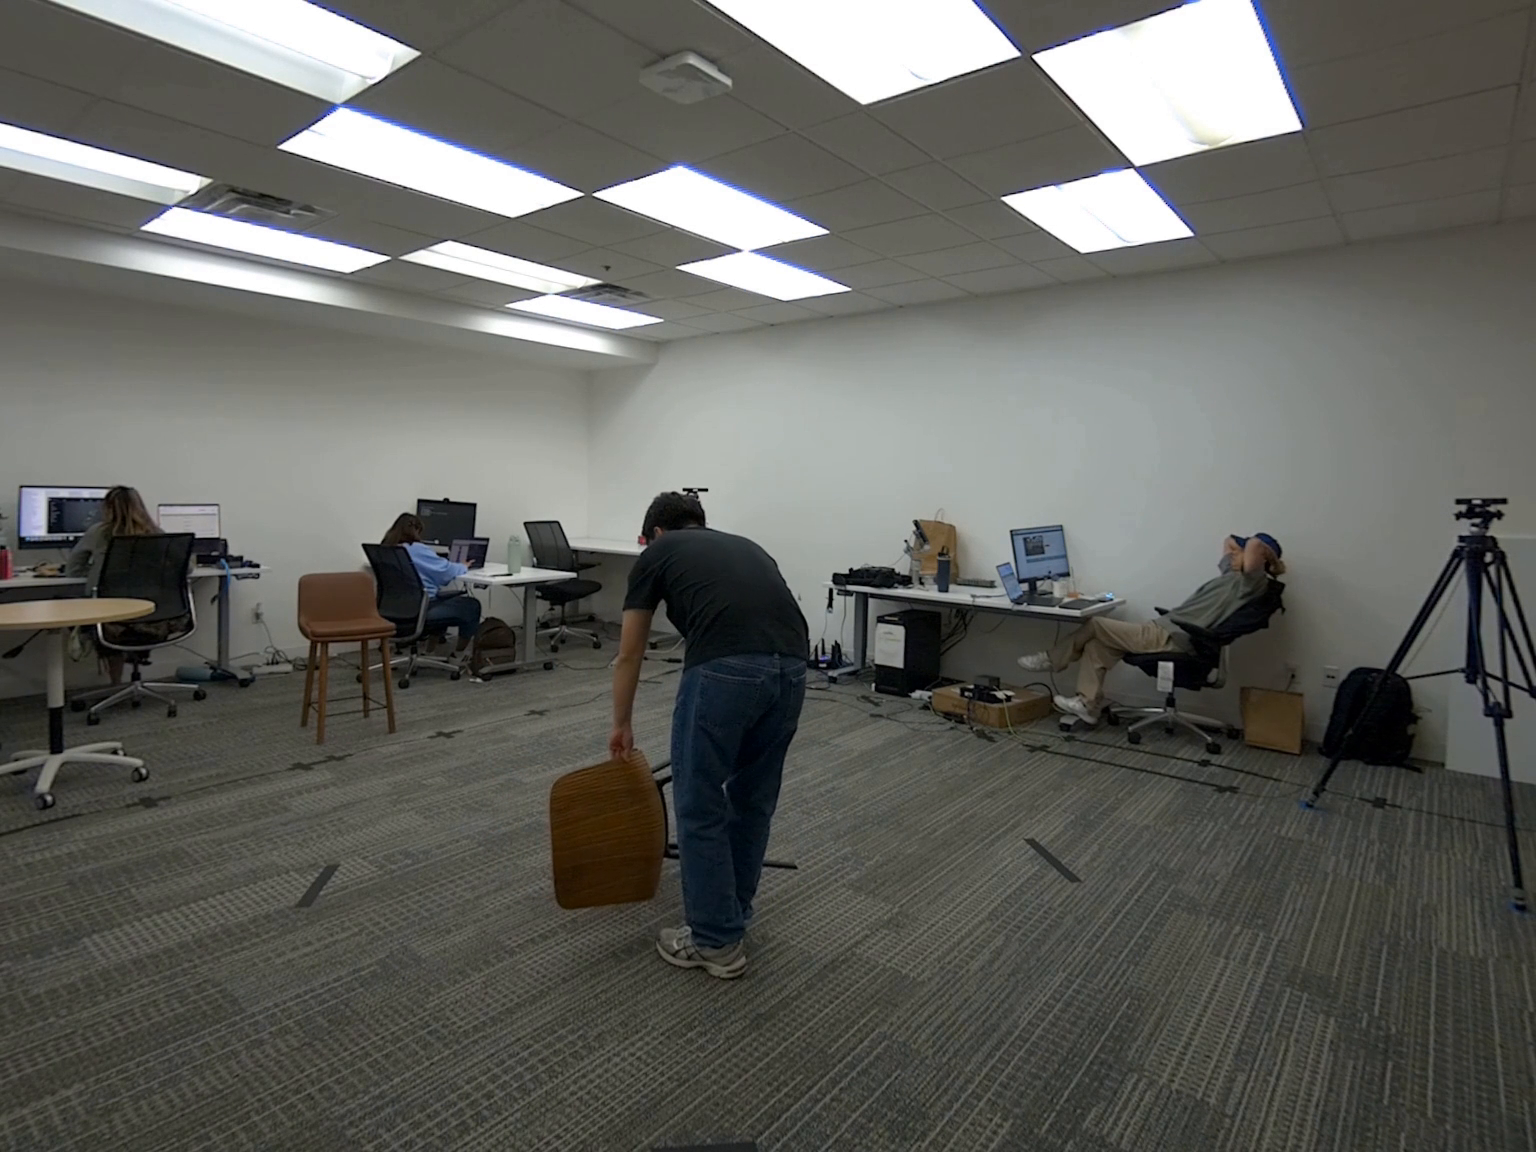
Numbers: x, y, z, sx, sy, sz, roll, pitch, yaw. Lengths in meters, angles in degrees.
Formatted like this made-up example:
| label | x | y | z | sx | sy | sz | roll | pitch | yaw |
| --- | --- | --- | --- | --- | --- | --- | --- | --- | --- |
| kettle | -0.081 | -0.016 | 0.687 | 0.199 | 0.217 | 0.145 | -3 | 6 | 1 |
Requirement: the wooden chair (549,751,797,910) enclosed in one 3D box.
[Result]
| label | x | y | z | sx | sy | sz | roll | pitch | yaw |
| --- | --- | --- | --- | --- | --- | --- | --- | --- | --- |
| wooden chair | -0.428 | 0.825 | 2.936 | 0.854 | 0.483 | 0.532 | -4 | -8 | -31 |
